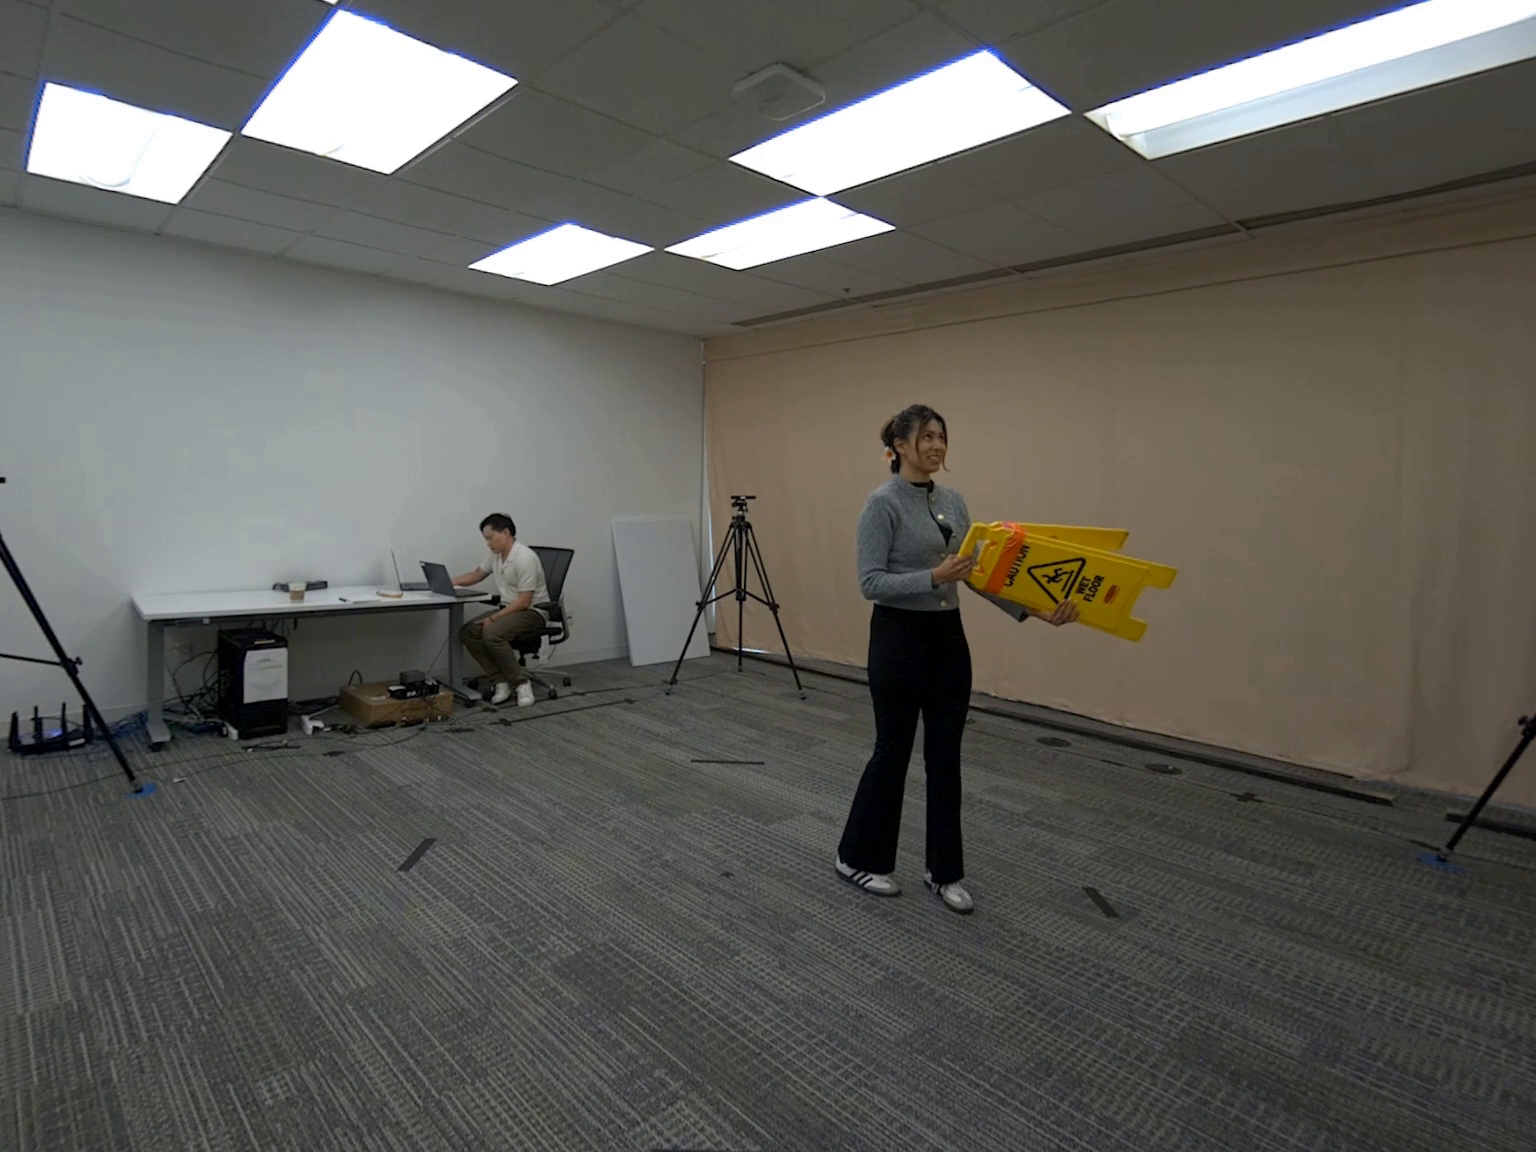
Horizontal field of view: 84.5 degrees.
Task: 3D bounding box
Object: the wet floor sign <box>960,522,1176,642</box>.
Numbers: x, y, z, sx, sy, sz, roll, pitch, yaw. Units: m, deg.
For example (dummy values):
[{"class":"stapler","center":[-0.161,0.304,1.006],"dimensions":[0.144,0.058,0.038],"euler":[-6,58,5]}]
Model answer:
[{"class":"wet floor sign","center":[0.912,-0.022,2.752],"dimensions":[0.638,0.279,0.297],"euler":[11,27,-15]}]
